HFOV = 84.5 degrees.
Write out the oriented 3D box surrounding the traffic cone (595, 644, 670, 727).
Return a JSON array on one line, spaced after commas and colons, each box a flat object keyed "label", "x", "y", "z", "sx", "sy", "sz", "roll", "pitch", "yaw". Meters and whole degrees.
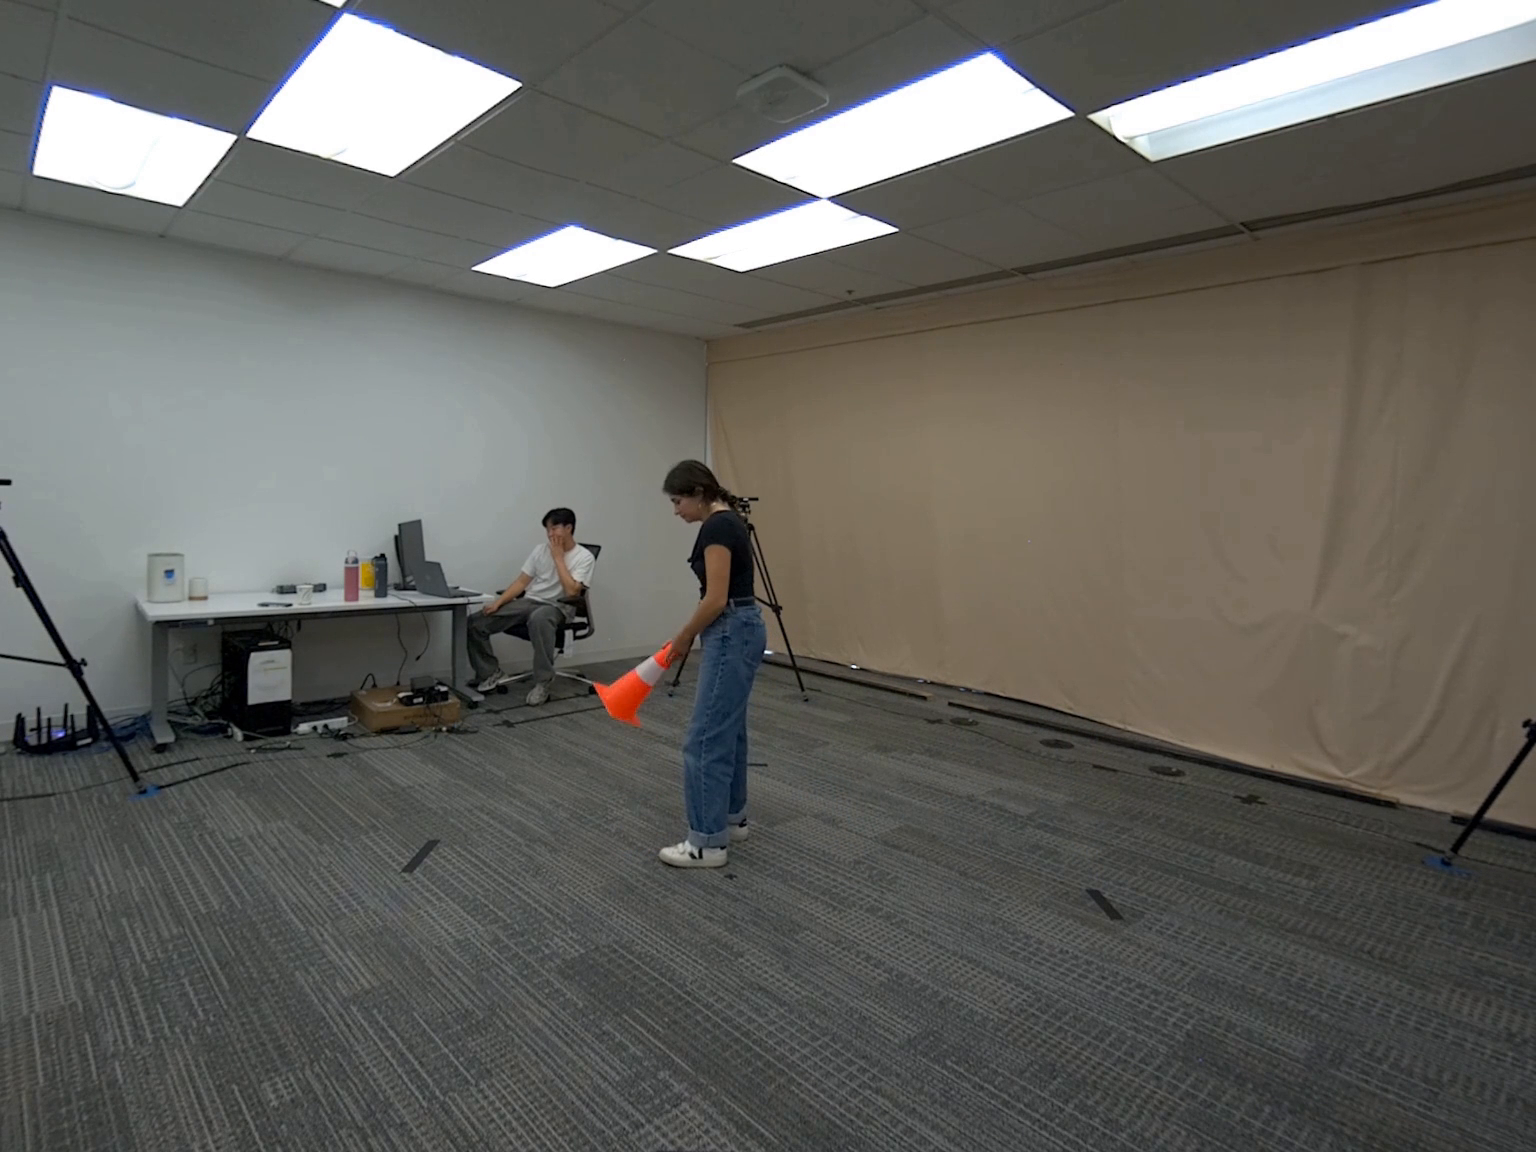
[{"label": "traffic cone", "x": -0.488, "y": 0.390, "z": 3.412, "sx": 0.197, "sy": 0.384, "sz": 0.211, "roll": 36, "pitch": 13, "yaw": -52}]
